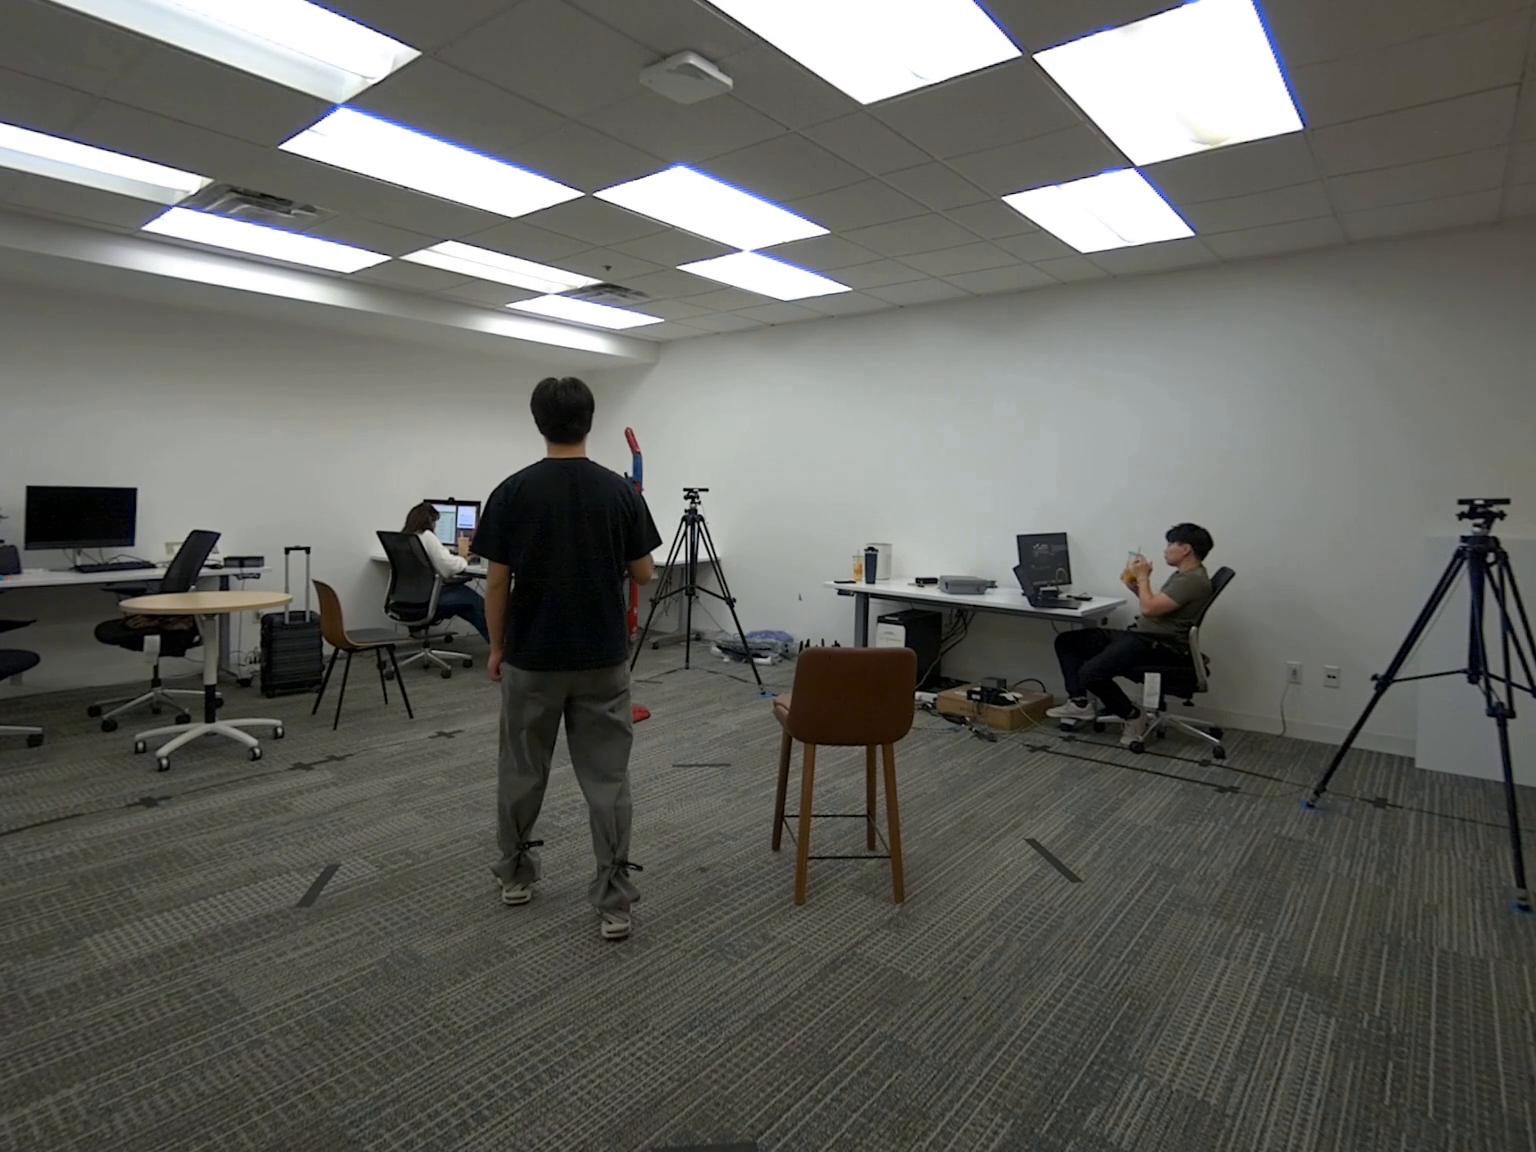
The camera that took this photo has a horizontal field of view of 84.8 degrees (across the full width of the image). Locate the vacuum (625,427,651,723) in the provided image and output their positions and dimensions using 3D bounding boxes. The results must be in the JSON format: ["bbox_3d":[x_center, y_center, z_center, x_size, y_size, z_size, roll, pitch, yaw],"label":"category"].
[{"bbox_3d":[-0.548,-0.016,3.154,0.147,1.047,0.247,2,2,23],"label":"vacuum"}]
